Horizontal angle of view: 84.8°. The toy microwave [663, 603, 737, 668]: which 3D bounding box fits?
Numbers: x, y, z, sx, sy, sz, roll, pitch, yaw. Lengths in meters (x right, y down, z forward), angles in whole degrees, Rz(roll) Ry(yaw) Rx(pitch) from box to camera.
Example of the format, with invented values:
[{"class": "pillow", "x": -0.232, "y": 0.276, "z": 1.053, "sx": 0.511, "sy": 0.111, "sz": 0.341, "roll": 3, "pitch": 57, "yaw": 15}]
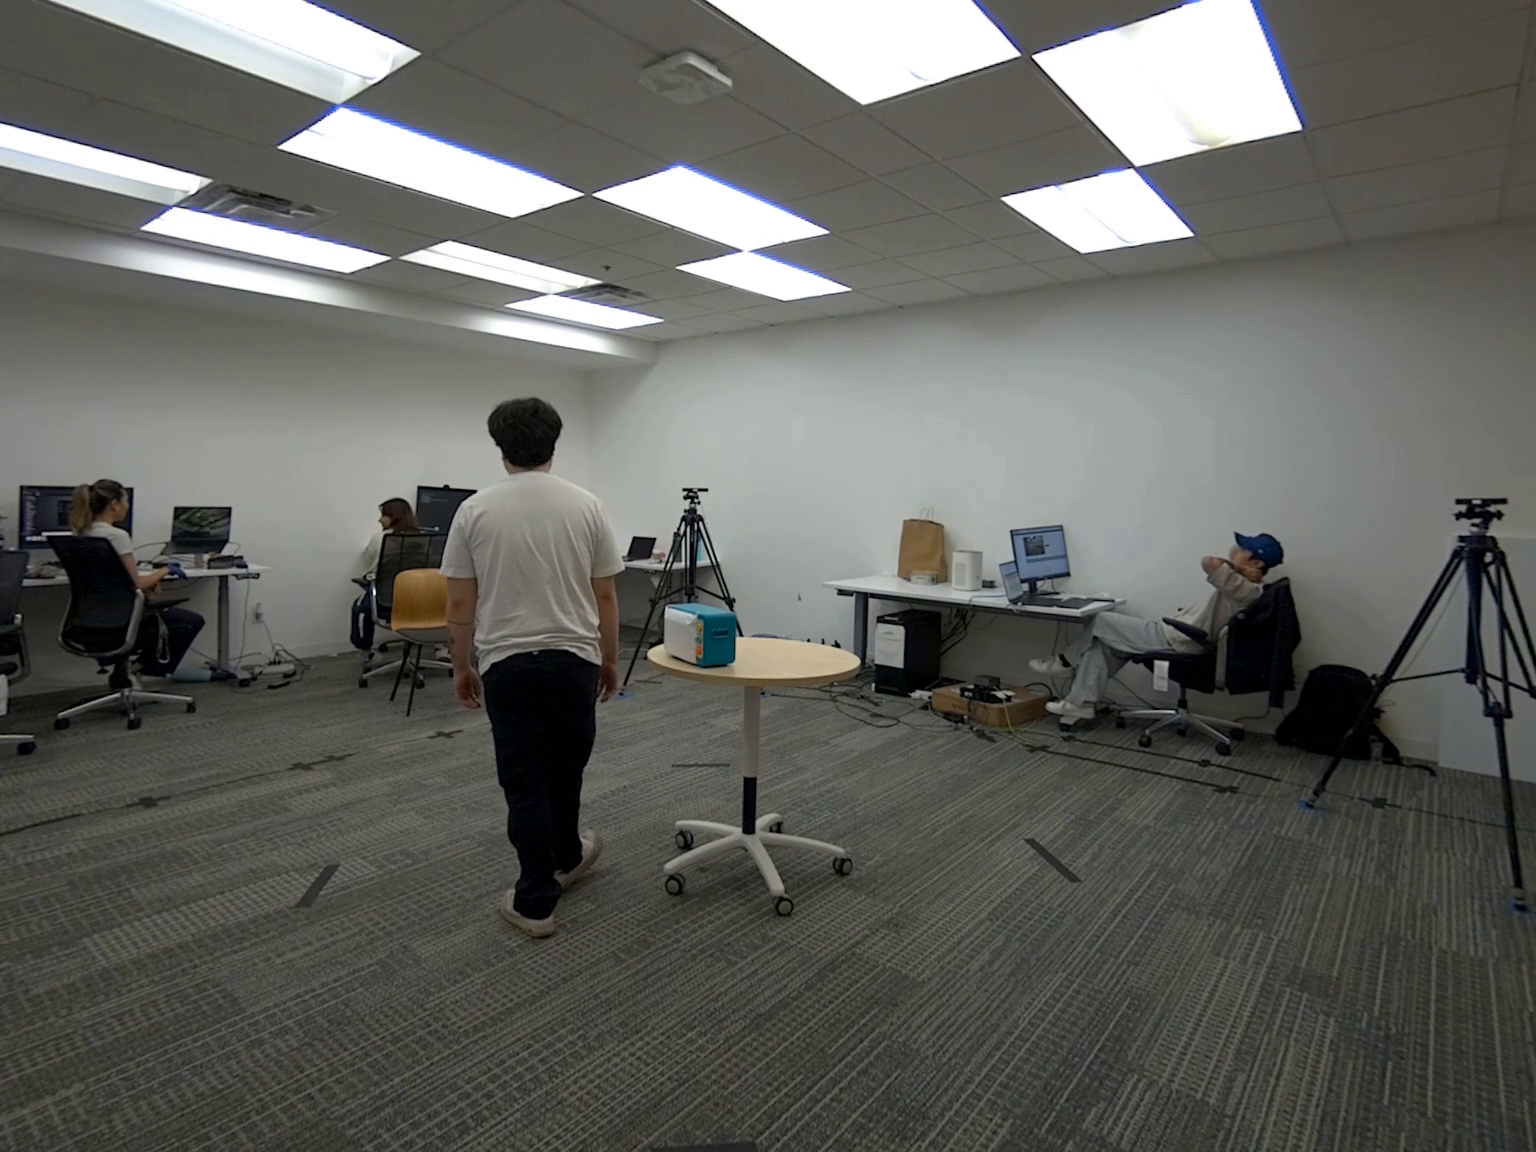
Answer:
[{"class": "toy microwave", "x": -0.256, "y": 0.199, "z": 2.941, "sx": 0.148, "sy": 0.183, "sz": 0.295, "roll": -1, "pitch": 5, "yaw": -34}]
